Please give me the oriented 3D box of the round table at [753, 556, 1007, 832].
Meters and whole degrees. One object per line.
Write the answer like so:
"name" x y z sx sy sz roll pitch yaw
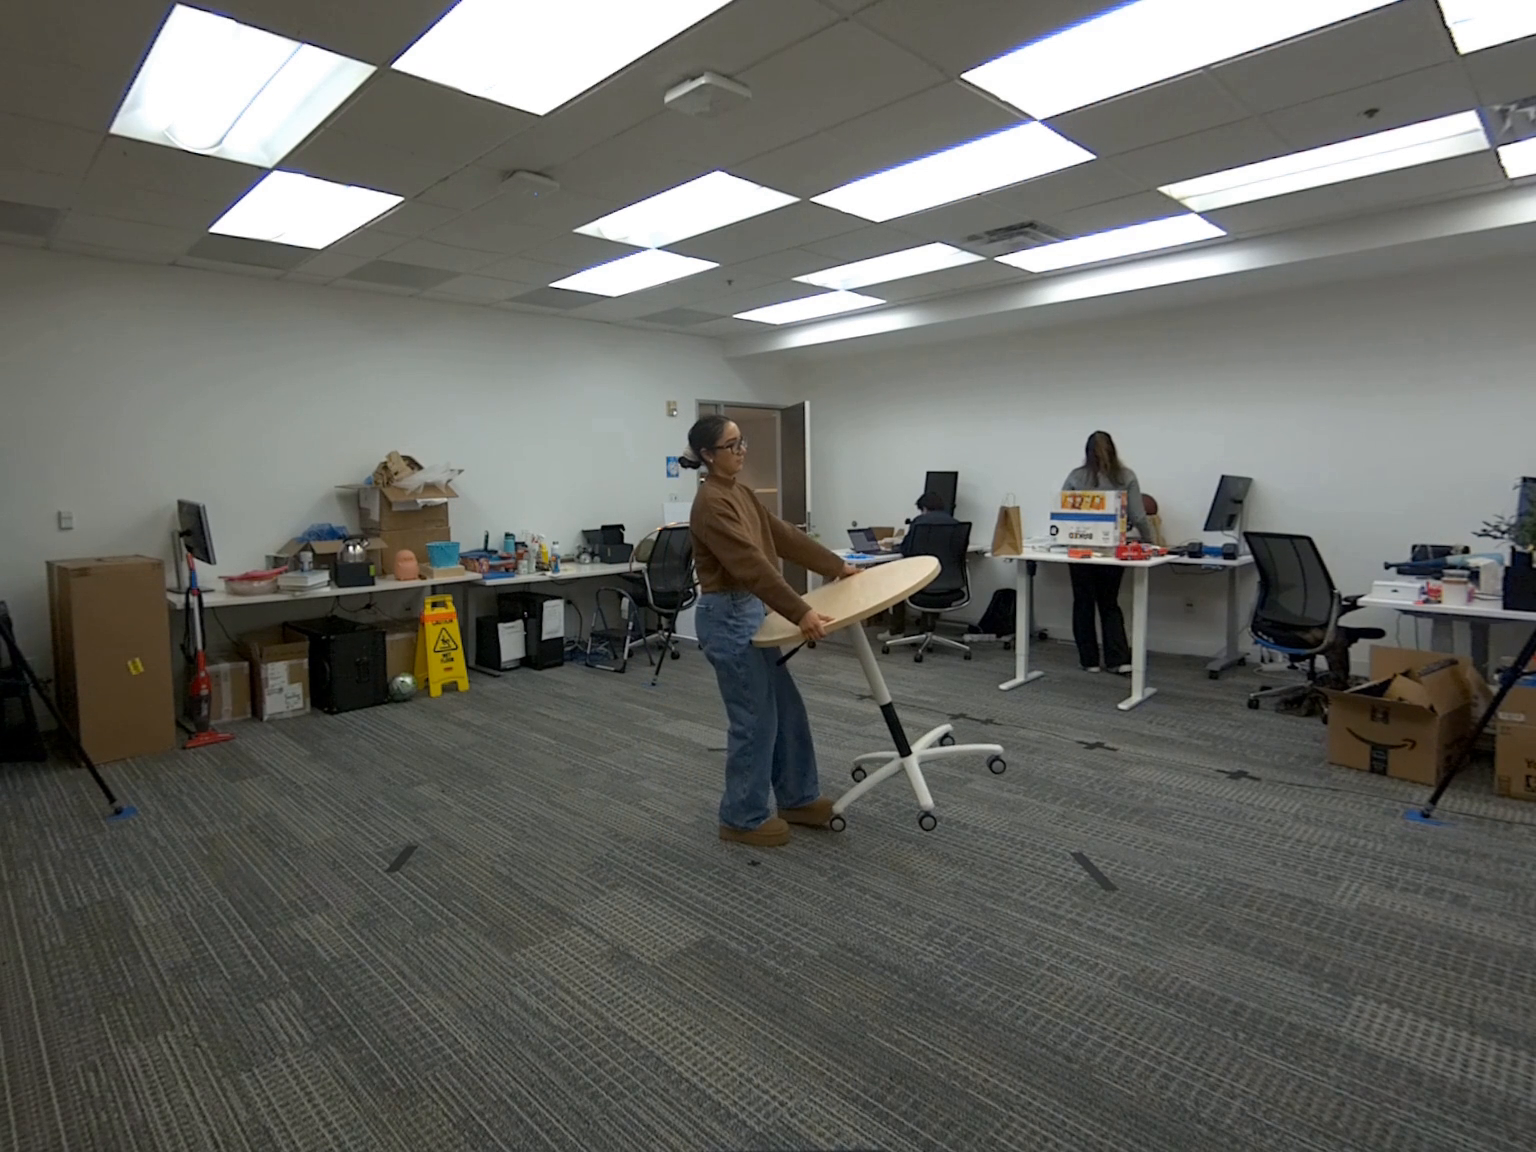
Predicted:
"round table" 0.445 0.439 3.260 0.785 0.782 0.790 -22 6 1
